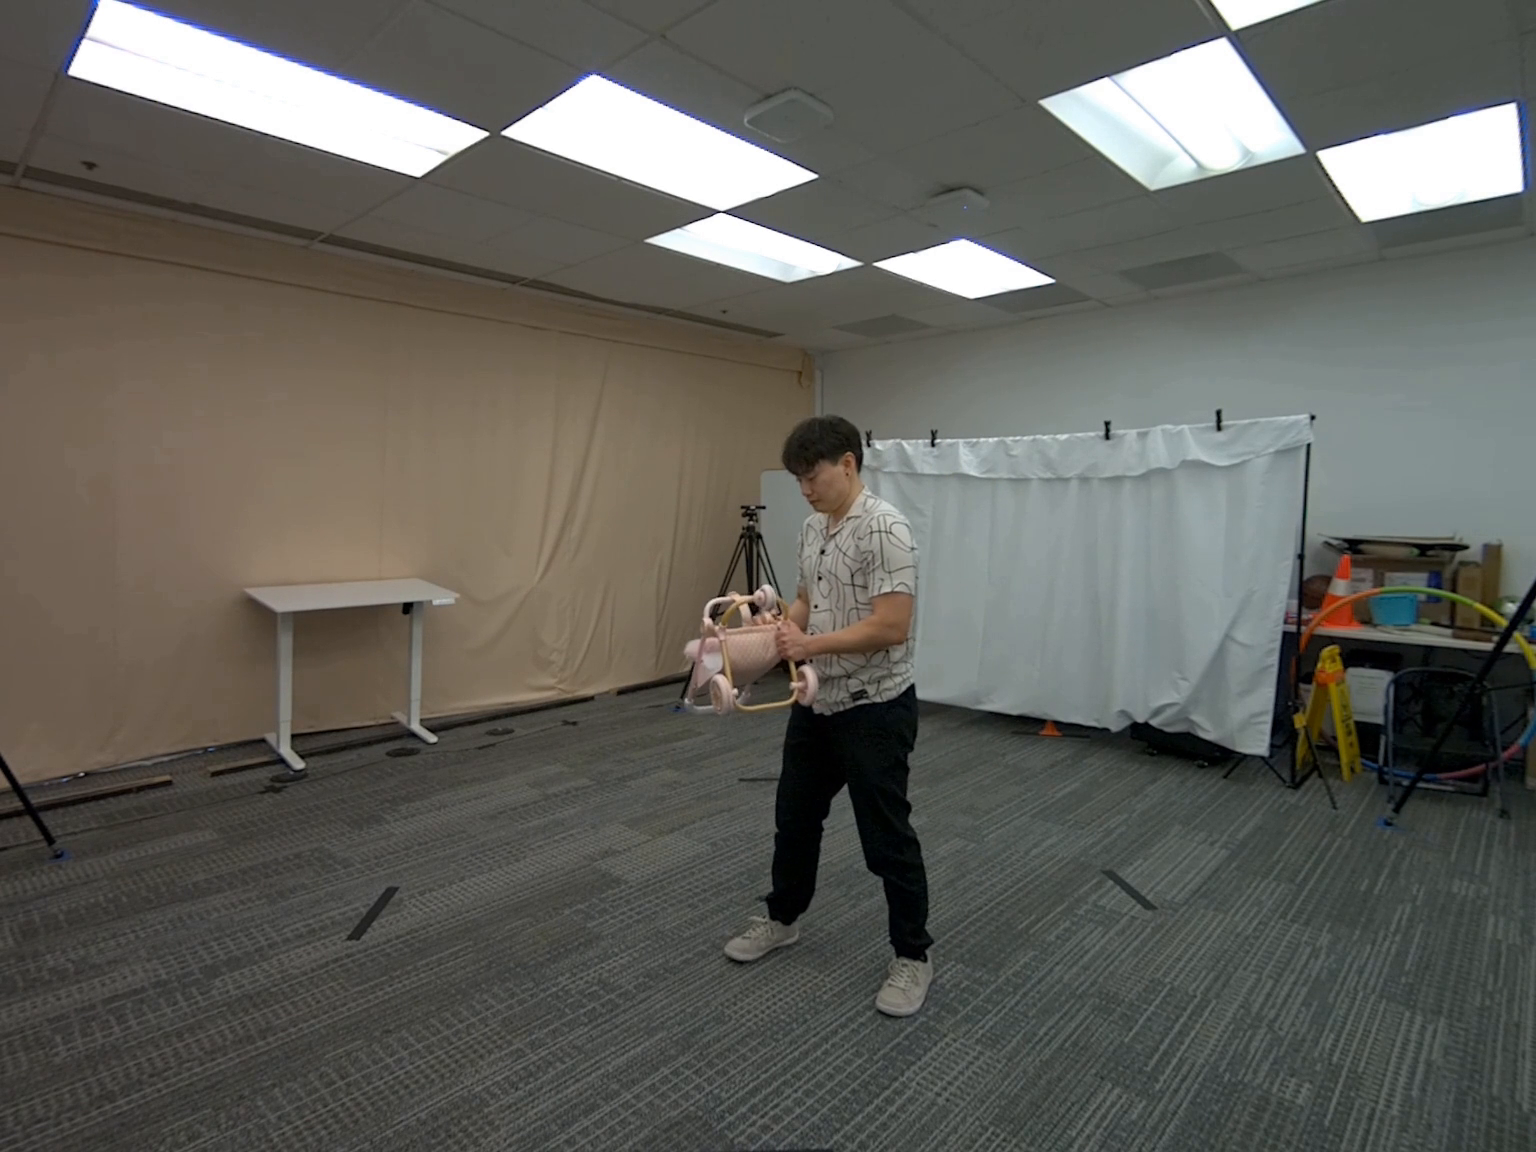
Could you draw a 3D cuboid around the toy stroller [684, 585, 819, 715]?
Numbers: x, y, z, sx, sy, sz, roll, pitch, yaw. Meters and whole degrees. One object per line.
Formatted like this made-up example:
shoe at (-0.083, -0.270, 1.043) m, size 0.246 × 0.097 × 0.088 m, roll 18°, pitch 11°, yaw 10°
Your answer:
toy stroller at (-0.074, 0.224, 2.369) m, size 0.276 × 0.343 × 0.543 m, roll -7°, pitch -6°, yaw -23°
